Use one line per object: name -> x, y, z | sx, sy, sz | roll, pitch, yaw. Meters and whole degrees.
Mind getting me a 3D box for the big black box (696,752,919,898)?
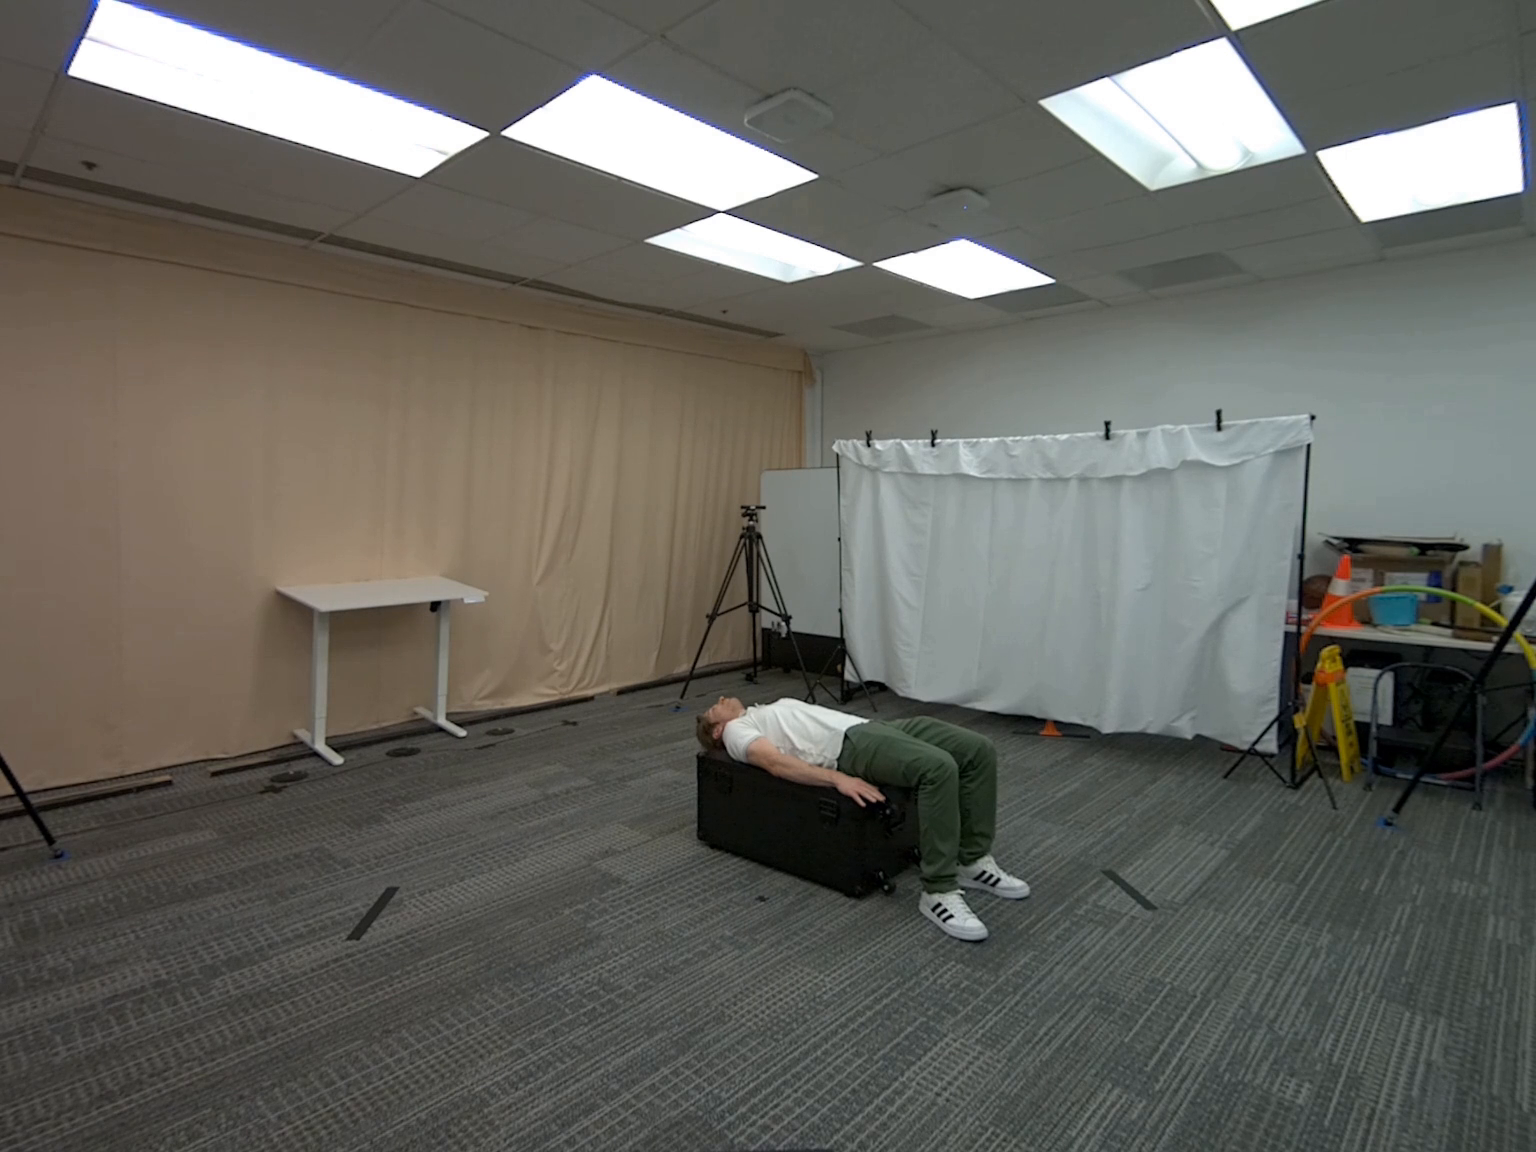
big black box -> 0.191, 0.924, 3.345 | 0.897, 0.384, 0.507 | 5, 6, 39
